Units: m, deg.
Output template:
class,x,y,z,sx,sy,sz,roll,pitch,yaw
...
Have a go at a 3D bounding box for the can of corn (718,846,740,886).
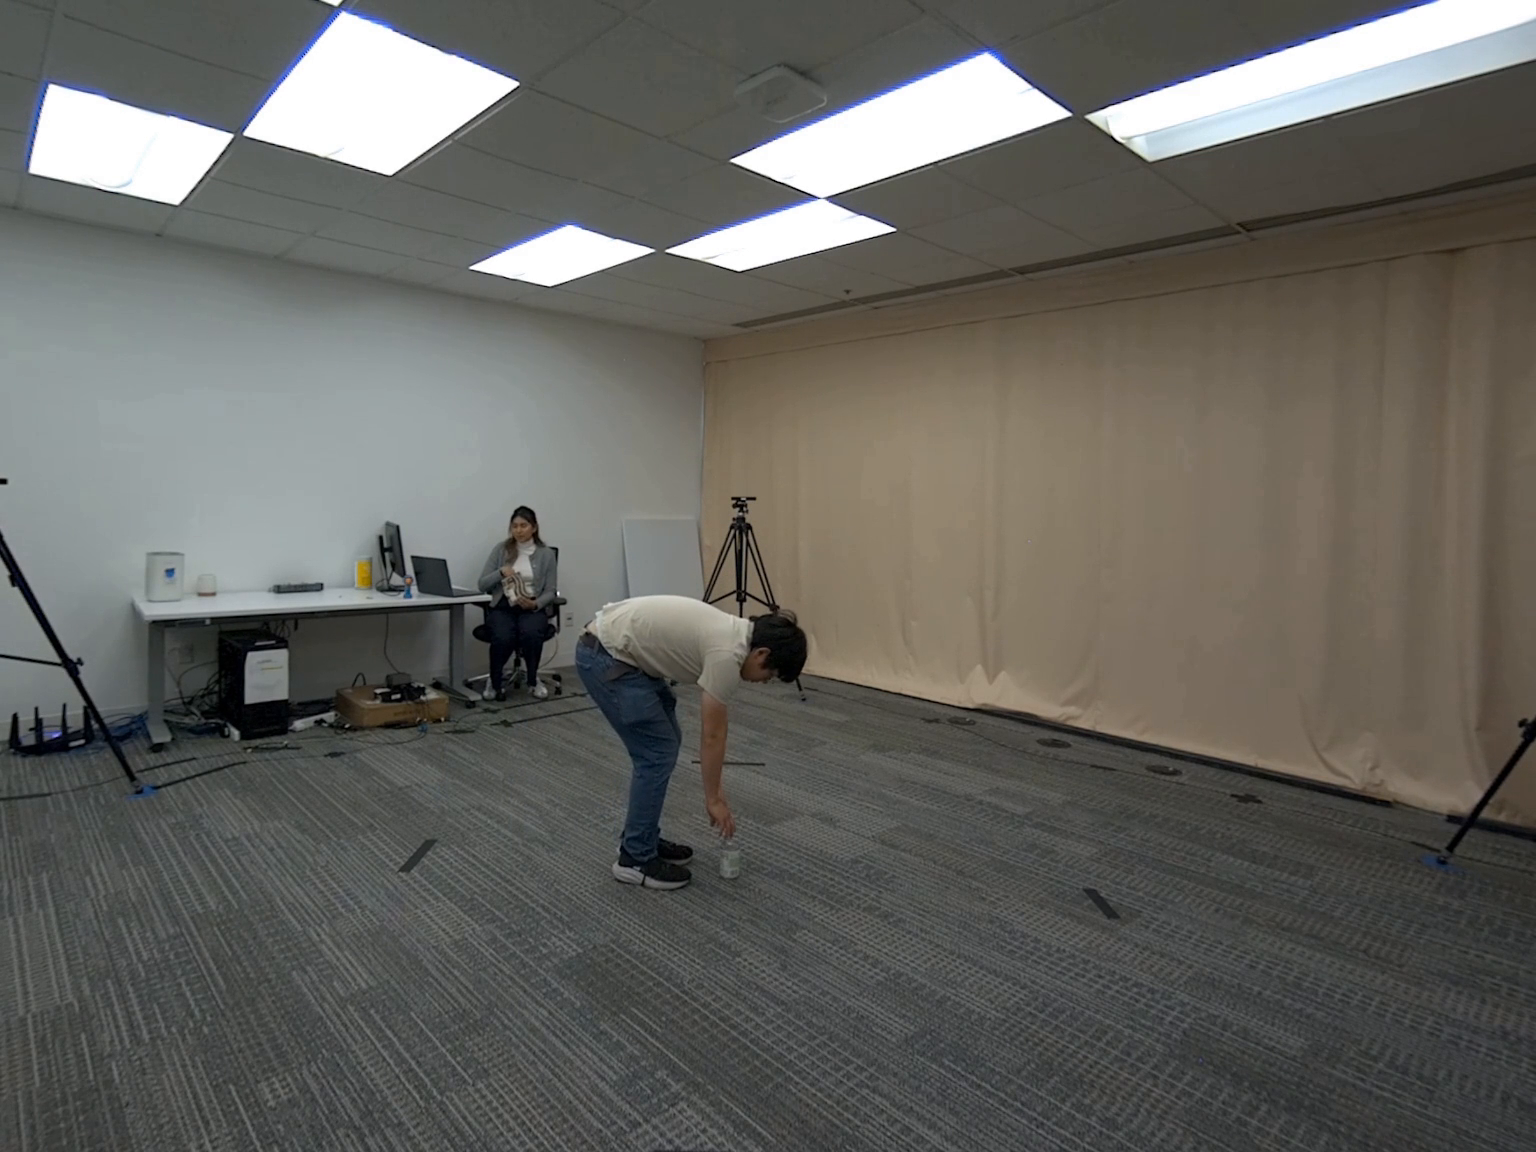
class,x,y,z,sx,sy,sz,roll,pitch,yaw
can of corn,-0.146,1.062,3.100,0.074,0.111,0.074,-1,5,-1
